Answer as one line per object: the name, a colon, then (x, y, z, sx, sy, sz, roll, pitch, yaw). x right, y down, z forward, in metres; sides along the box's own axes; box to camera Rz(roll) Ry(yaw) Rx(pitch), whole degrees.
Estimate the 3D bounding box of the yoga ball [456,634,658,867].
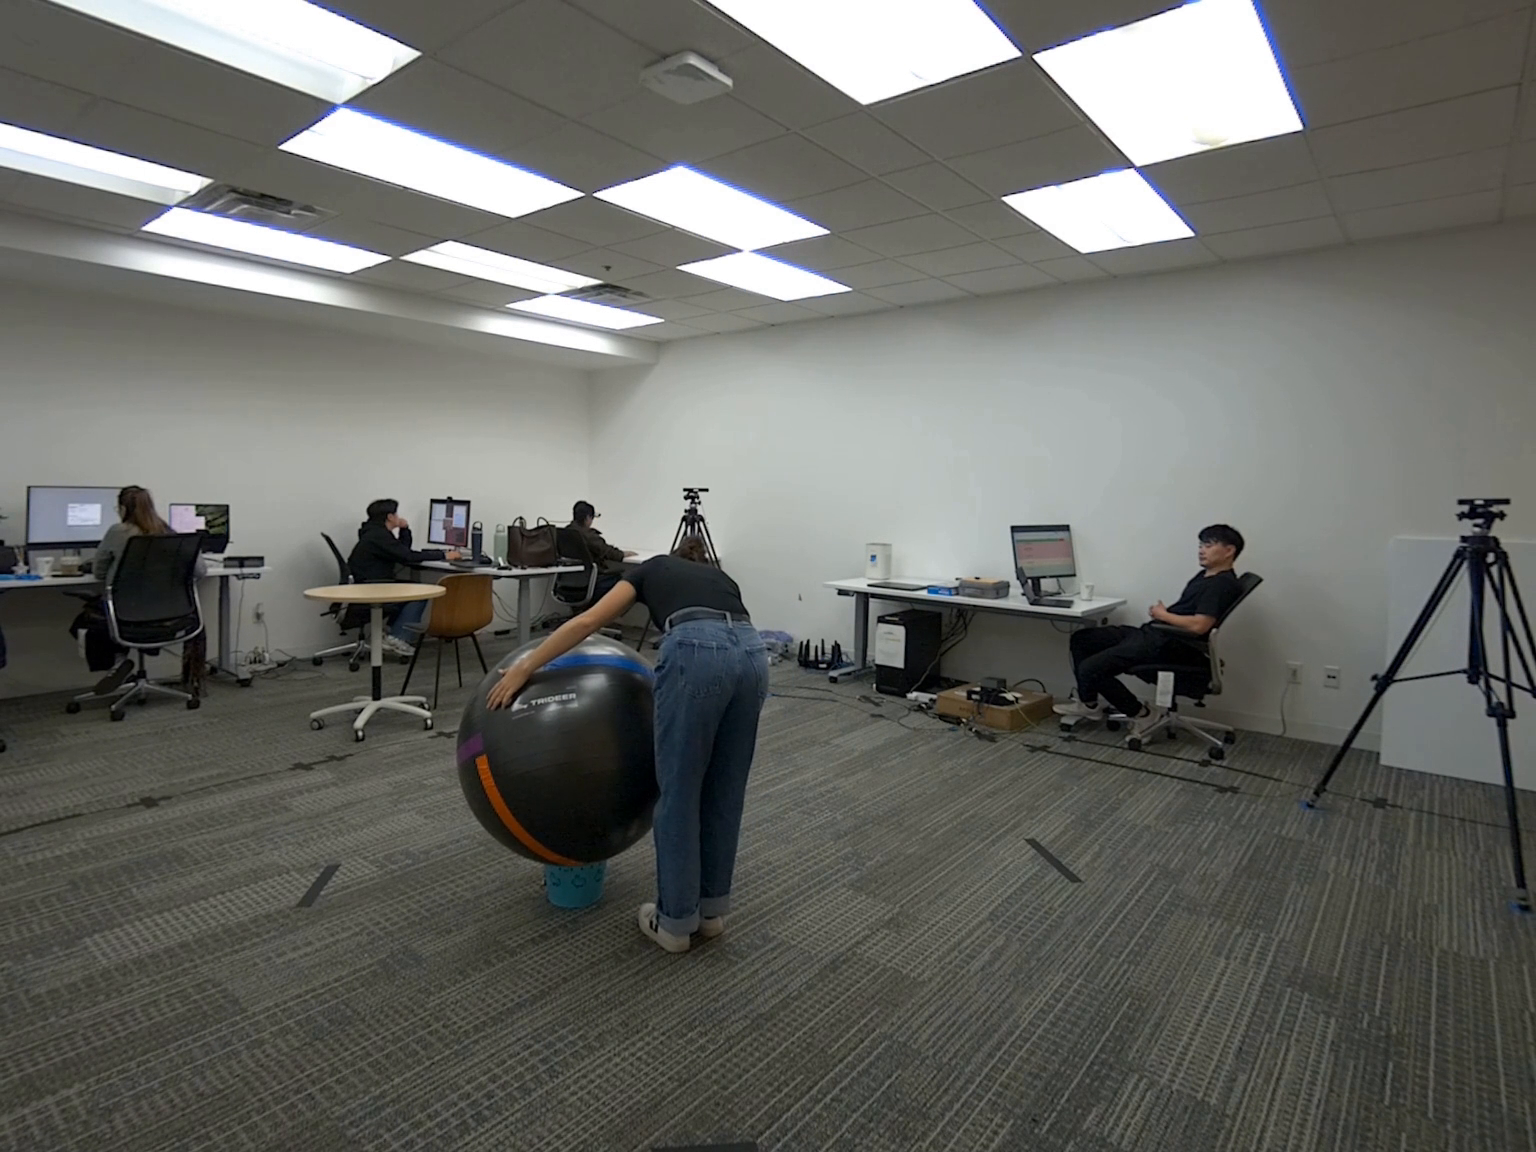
yoga ball: (-0.683, 0.576, 2.874, 0.757, 0.755, 0.762, 1, 4, -2)
